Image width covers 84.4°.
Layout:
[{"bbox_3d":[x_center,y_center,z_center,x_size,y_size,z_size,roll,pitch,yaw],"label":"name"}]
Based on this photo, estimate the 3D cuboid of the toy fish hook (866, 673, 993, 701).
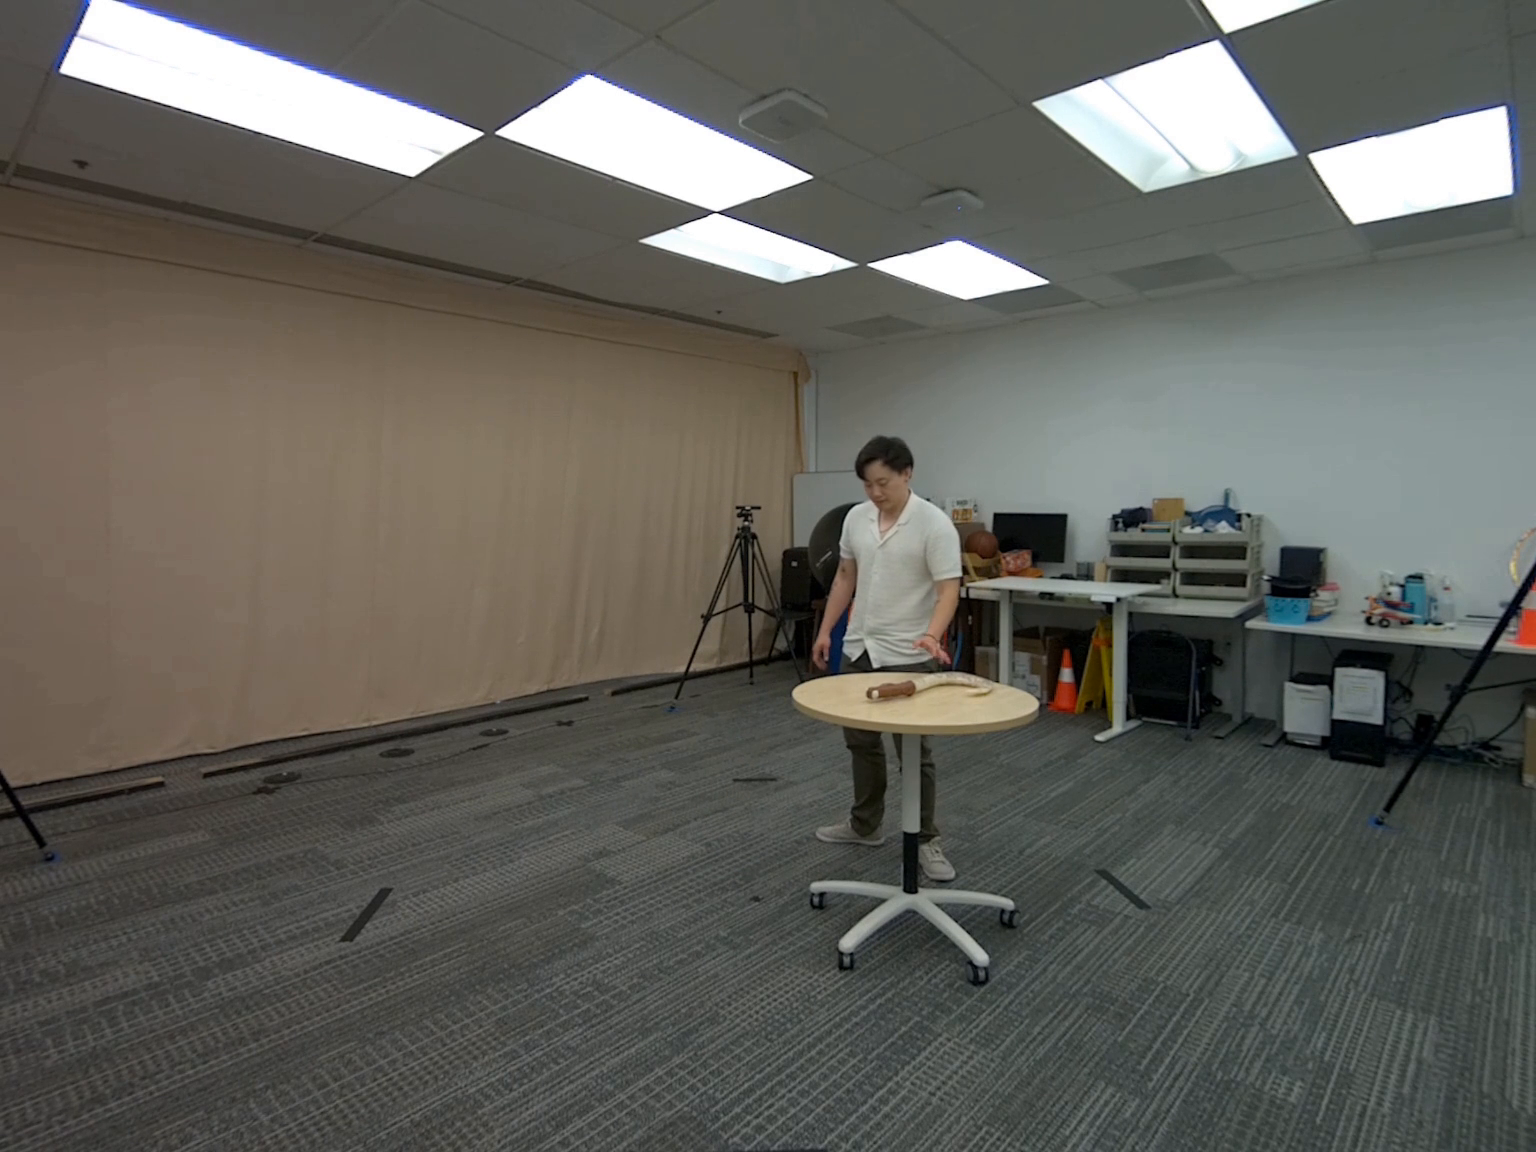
[{"bbox_3d":[0.533,0.362,2.702,0.491,0.048,0.232,-3,5,-39],"label":"toy fish hook"}]
